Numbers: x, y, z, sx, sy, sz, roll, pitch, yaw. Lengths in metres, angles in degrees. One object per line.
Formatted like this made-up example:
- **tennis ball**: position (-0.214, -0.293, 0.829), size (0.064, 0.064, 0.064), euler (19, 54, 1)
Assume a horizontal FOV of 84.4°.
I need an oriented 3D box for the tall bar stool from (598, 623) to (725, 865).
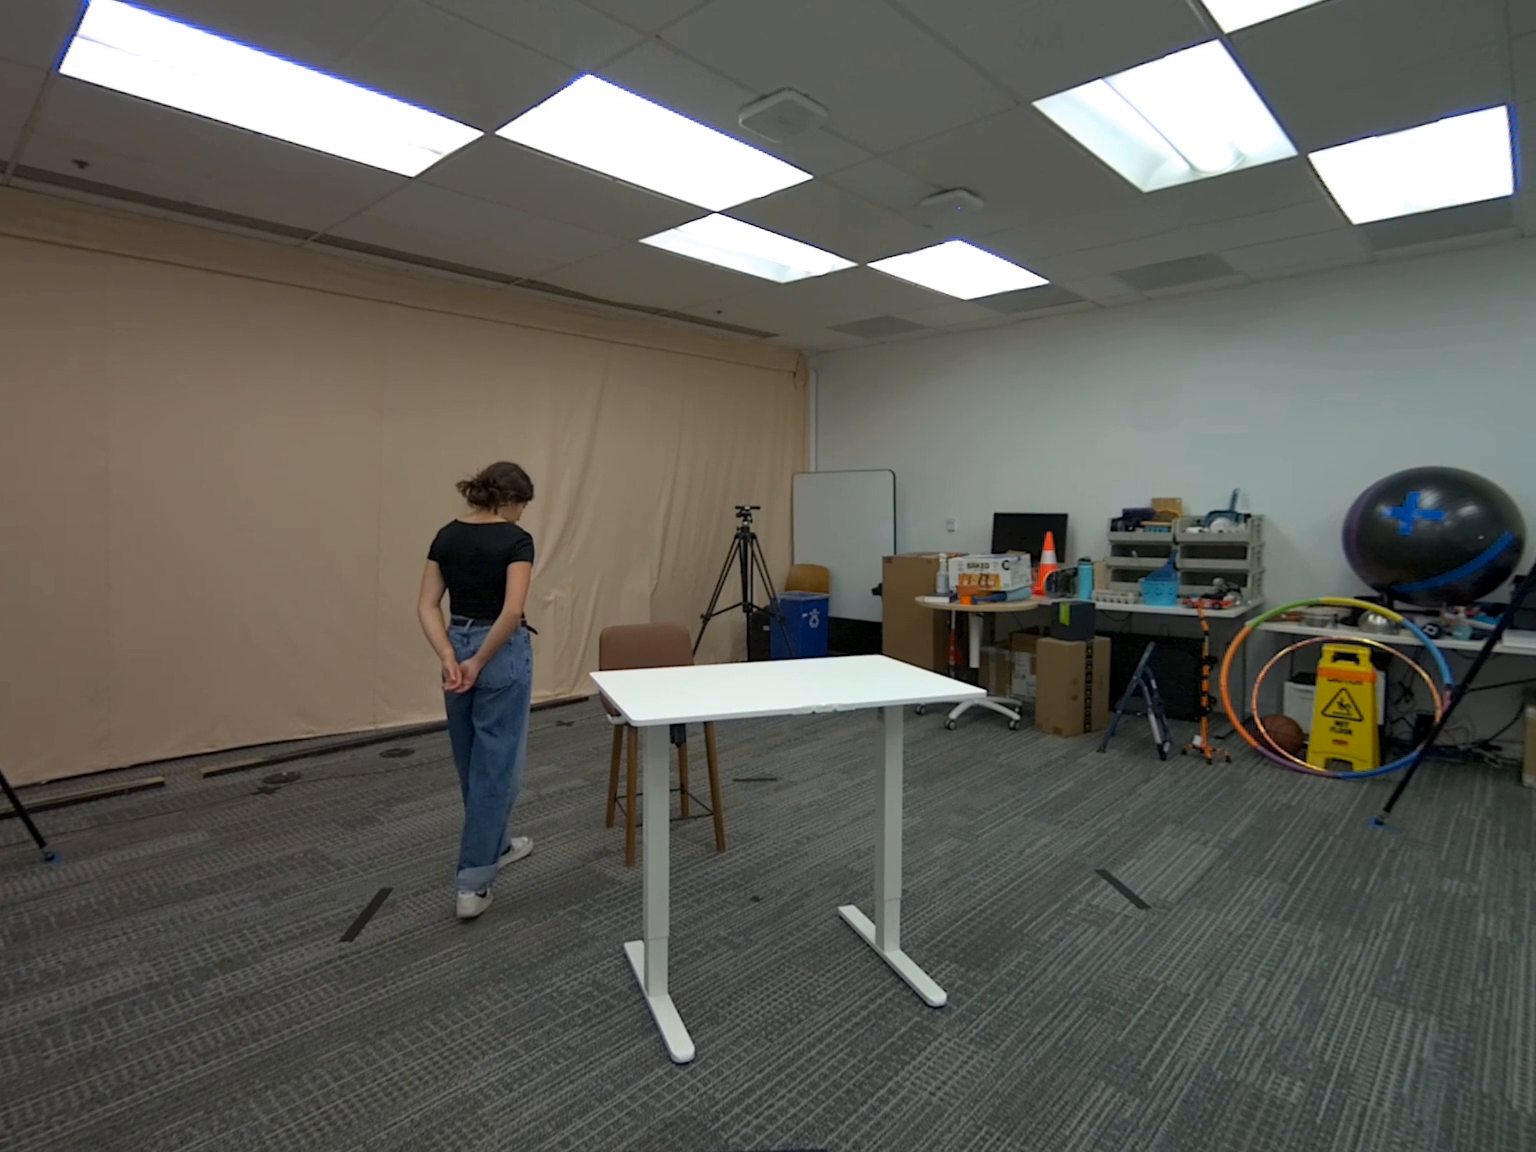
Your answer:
- **tall bar stool**: position (-0.454, 0.666, 3.517), size (0.447, 0.889, 0.478), euler (-2, 2, -22)
